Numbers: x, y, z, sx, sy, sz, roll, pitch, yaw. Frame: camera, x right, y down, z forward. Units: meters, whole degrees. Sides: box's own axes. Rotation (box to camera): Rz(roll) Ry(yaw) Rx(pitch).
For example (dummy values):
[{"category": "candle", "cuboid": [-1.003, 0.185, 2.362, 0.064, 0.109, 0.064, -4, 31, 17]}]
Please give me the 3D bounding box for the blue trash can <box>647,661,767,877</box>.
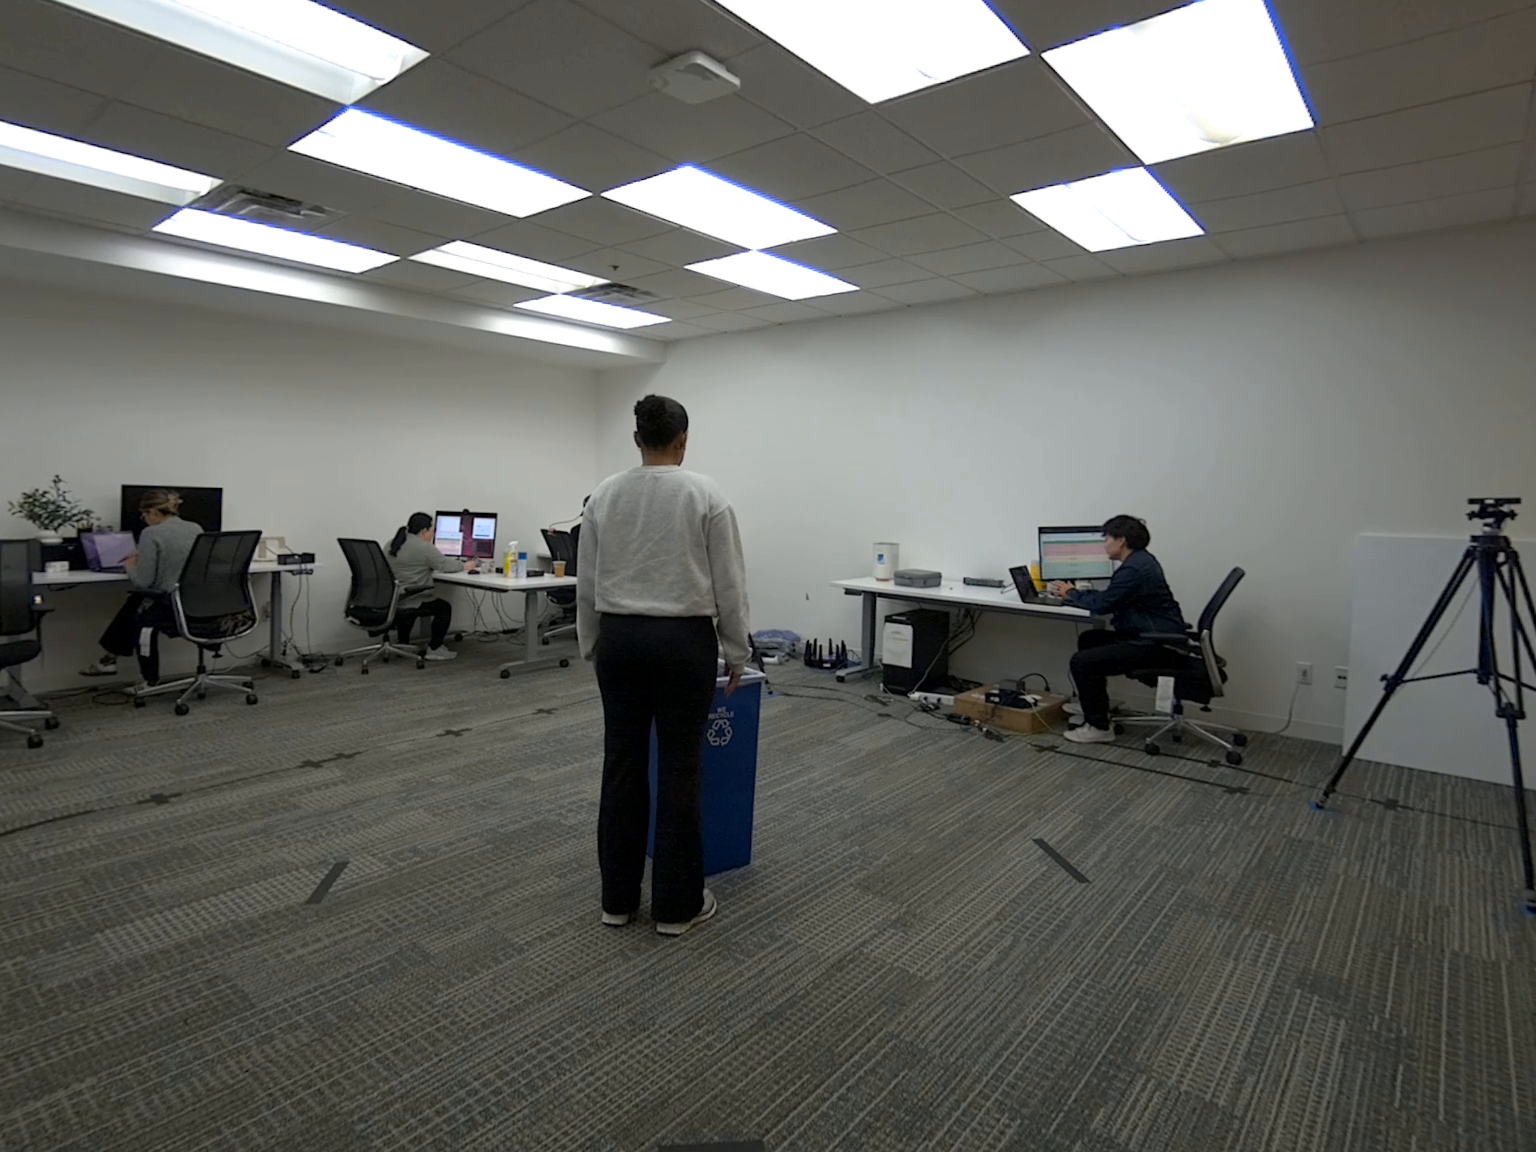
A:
[{"category": "blue trash can", "cuboid": [-0.258, 0.702, 3.175, 0.367, 0.712, 0.386, 0, 3, -37]}]
